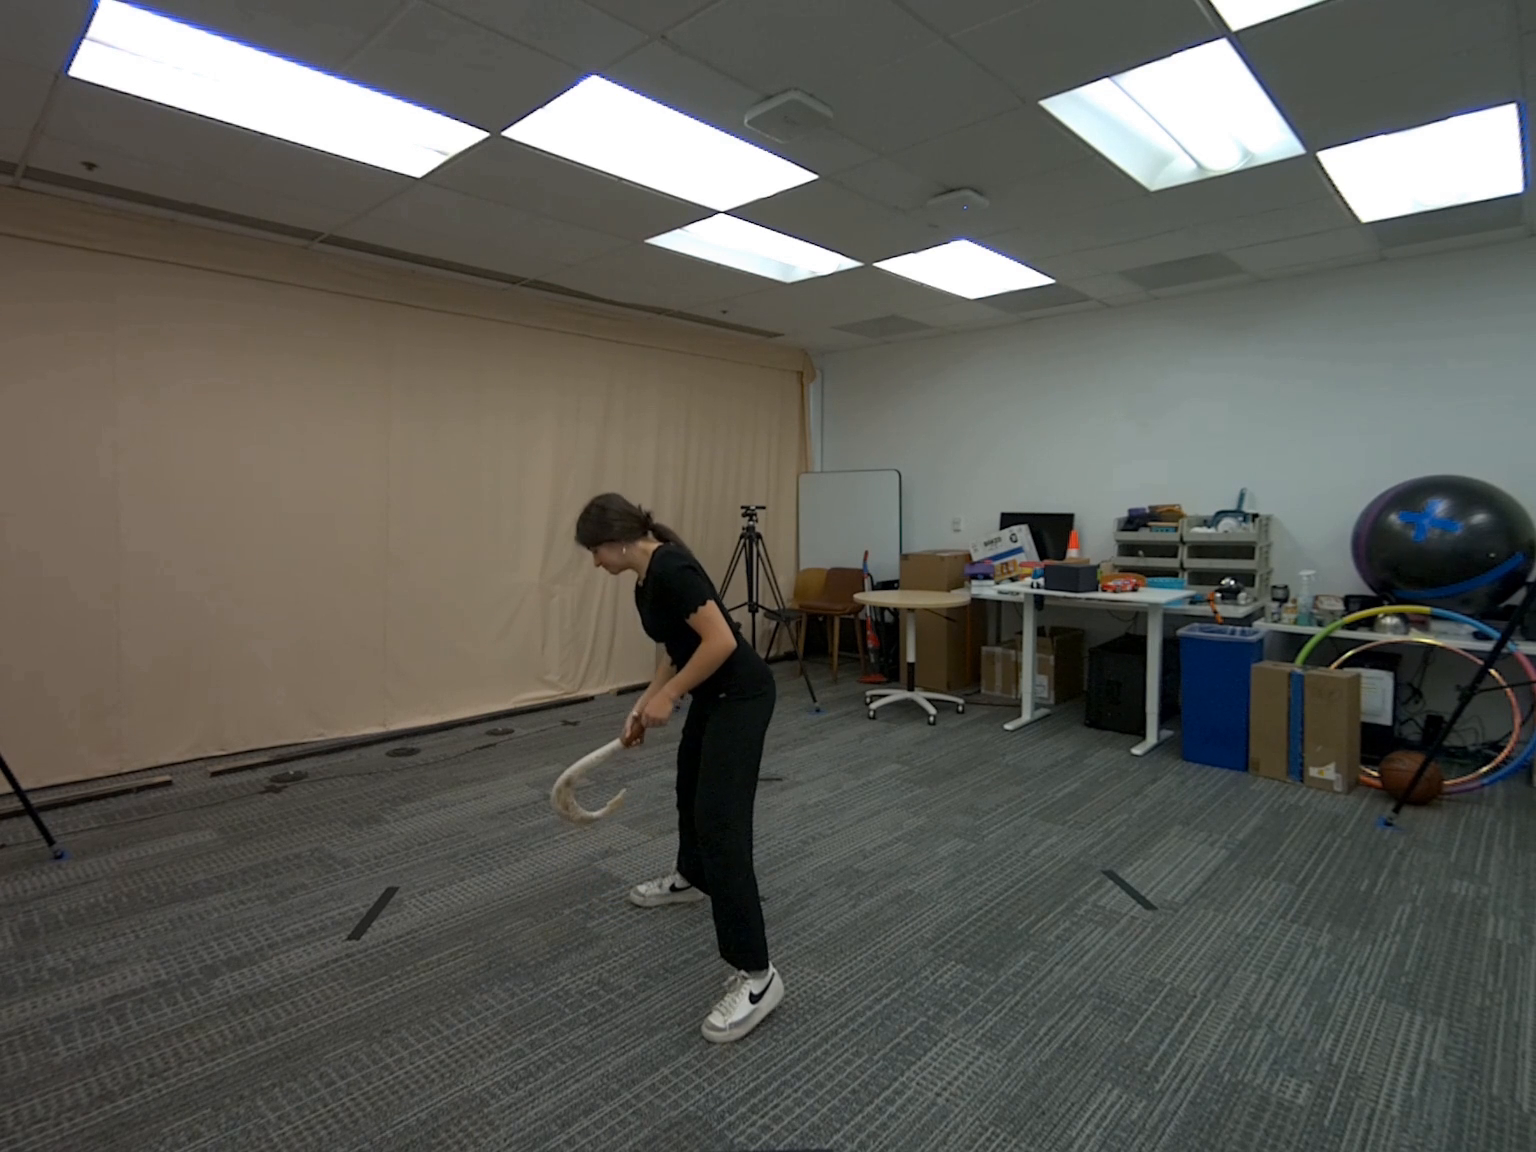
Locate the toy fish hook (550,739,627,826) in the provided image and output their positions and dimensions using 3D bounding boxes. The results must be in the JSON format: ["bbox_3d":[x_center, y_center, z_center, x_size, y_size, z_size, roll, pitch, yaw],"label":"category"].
[{"bbox_3d":[-0.464,0.613,2.678,0.218,0.506,0.050,47,-1,-27],"label":"toy fish hook"}]
